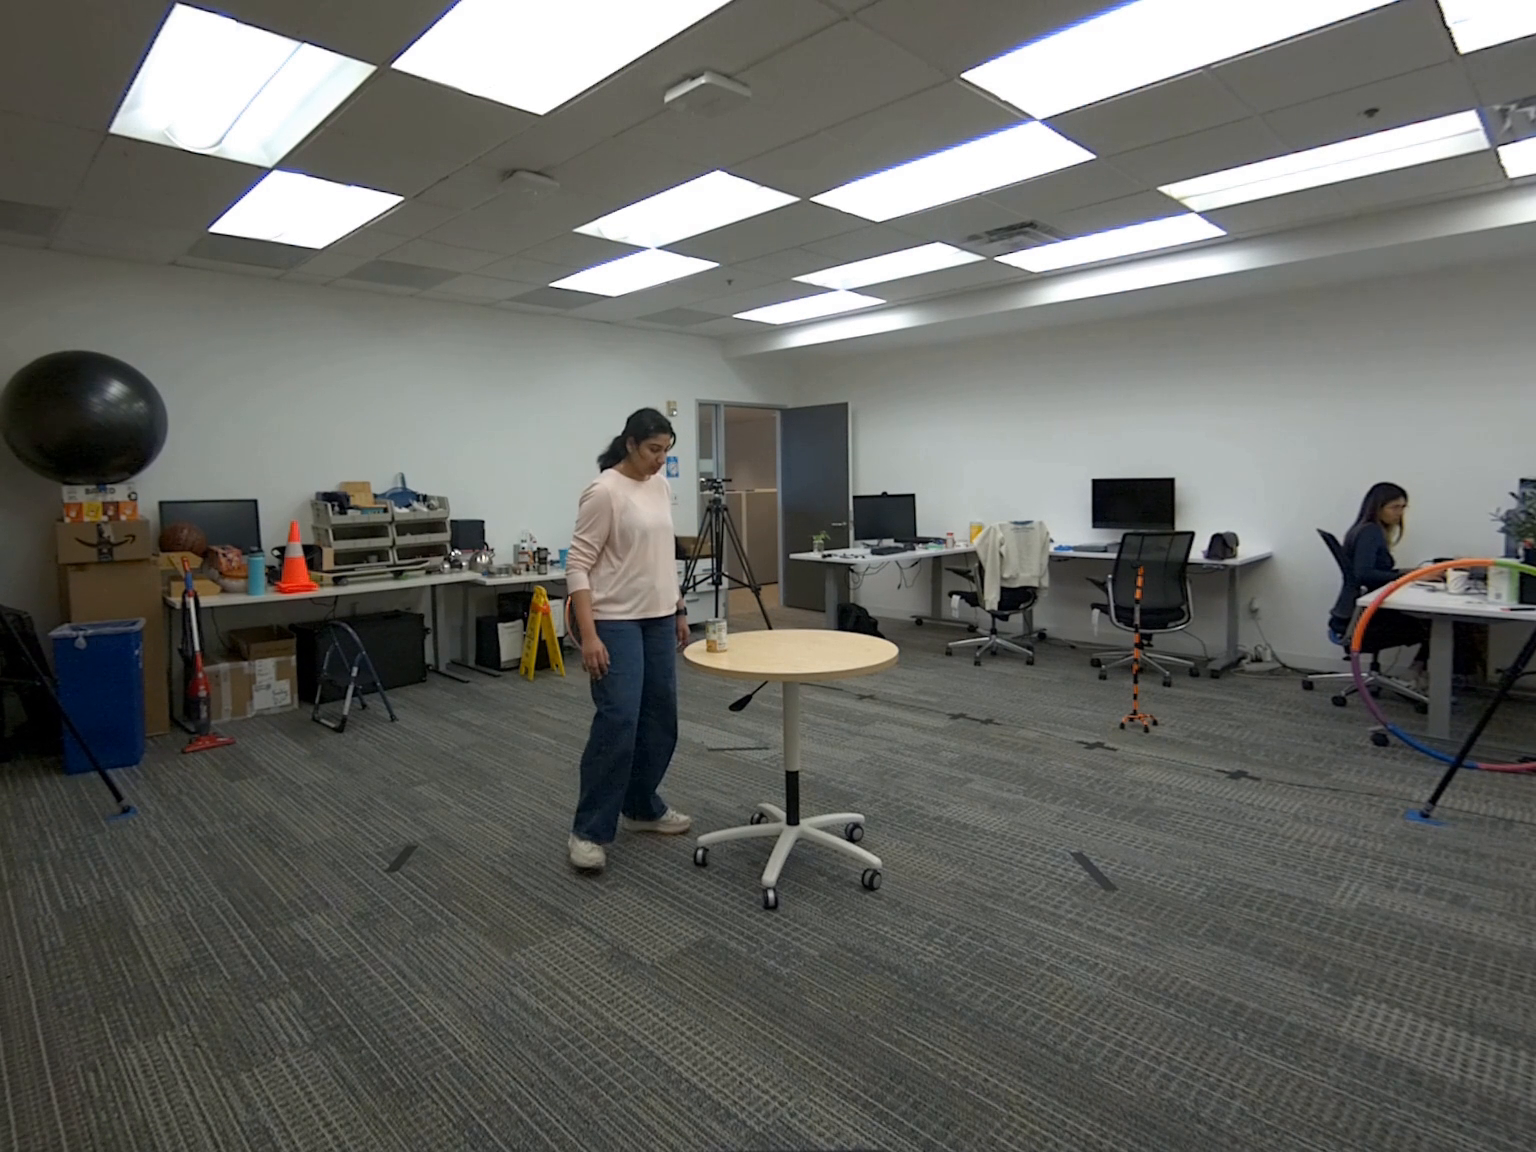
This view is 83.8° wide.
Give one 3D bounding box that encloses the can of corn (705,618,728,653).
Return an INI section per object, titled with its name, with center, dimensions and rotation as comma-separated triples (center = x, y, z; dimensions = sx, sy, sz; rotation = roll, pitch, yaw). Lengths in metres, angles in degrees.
[can of corn]
center = -0.189, 0.219, 3.062
dimensions = 0.074, 0.110, 0.074
rotation = -5, 6, -1
